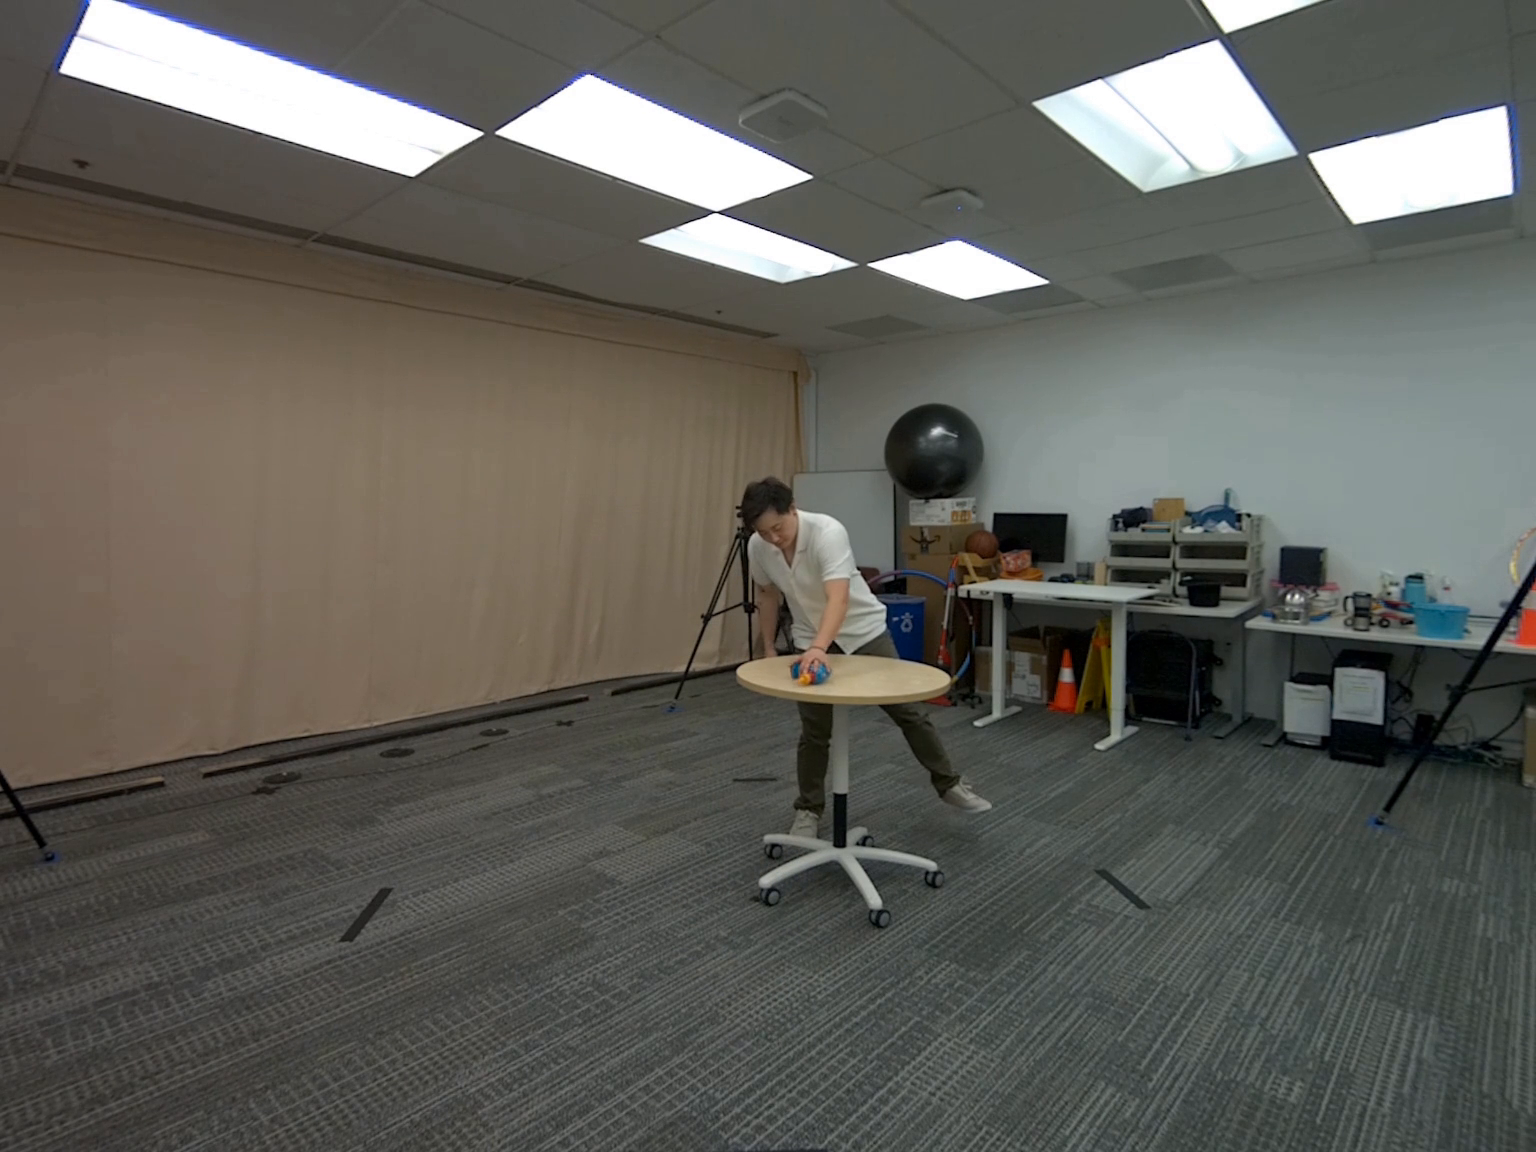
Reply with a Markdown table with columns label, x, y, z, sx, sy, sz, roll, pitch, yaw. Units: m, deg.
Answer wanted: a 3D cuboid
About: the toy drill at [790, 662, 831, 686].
| label | x | y | z | sx | sy | sz | roll | pitch | yaw |
| --- | --- | --- | --- | --- | --- | --- | --- | --- | --- |
| toy drill | 0.141 | 0.338 | 2.918 | 0.165 | 0.061 | 0.151 | -14 | 11 | -40 |
